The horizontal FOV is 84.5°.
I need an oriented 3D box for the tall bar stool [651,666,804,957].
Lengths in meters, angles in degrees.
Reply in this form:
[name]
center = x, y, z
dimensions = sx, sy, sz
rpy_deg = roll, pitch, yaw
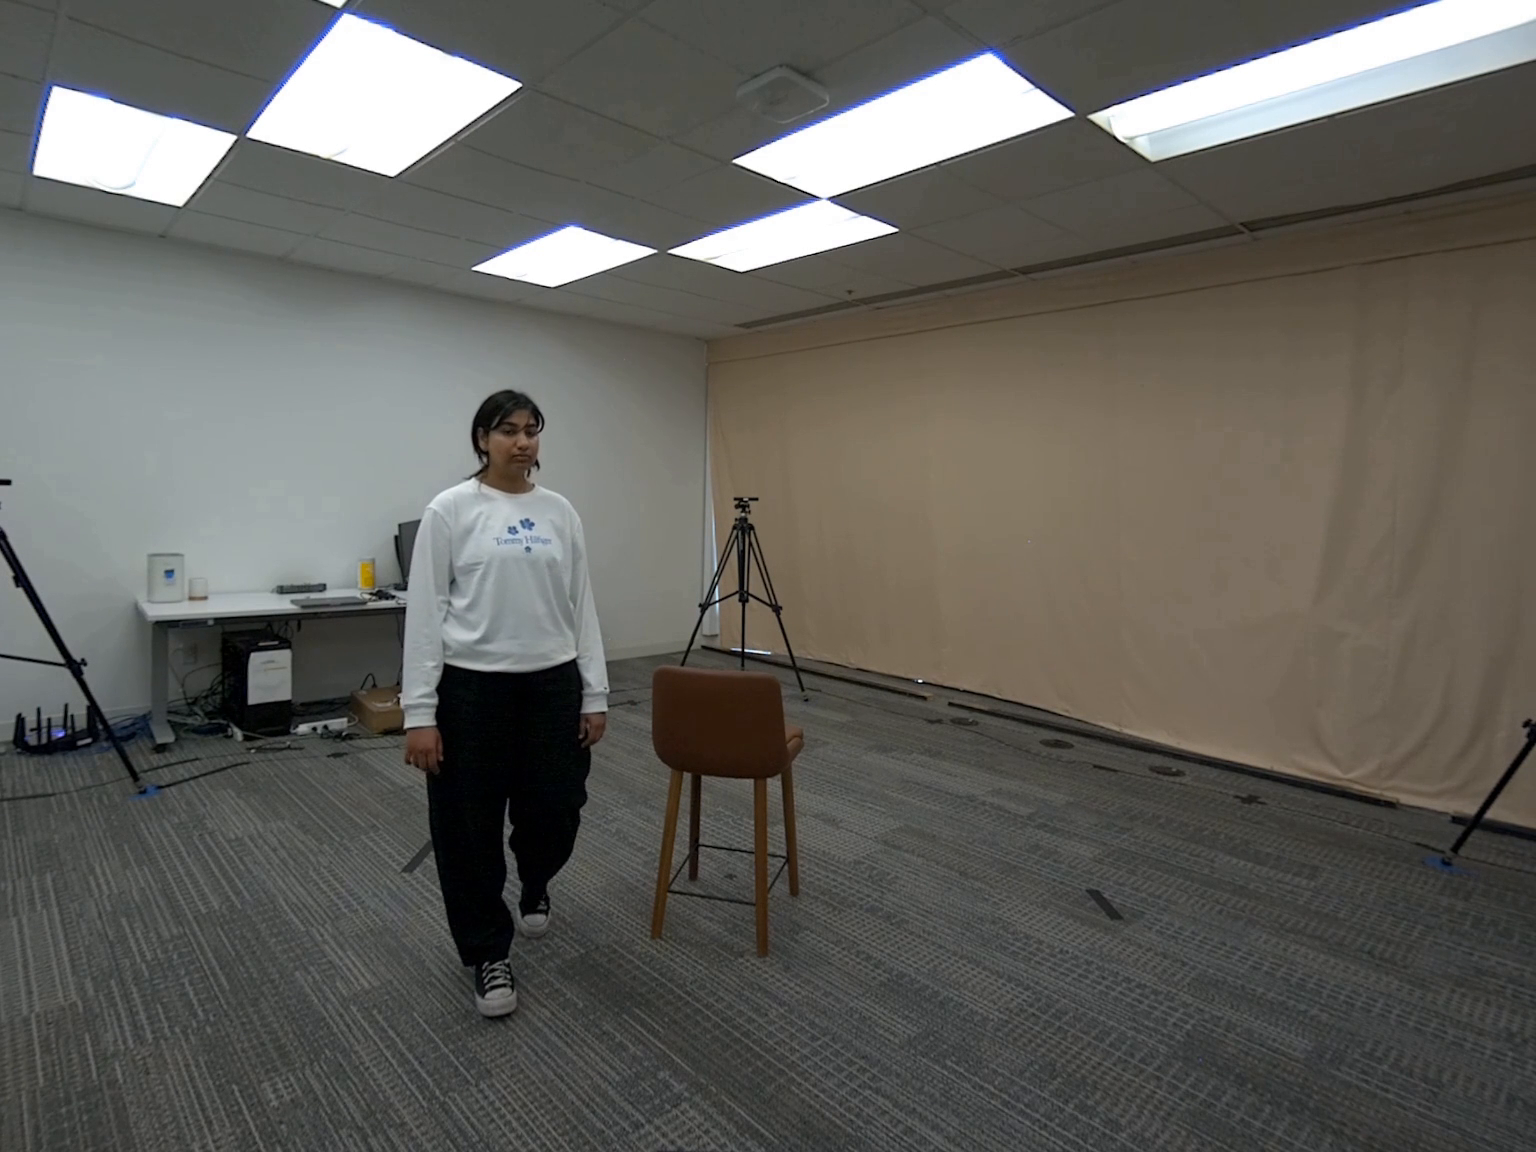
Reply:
[tall bar stool]
center = -0.134, 0.704, 2.788
dimensions = 0.462, 0.886, 0.463
rpy_deg = 2, 5, 15
